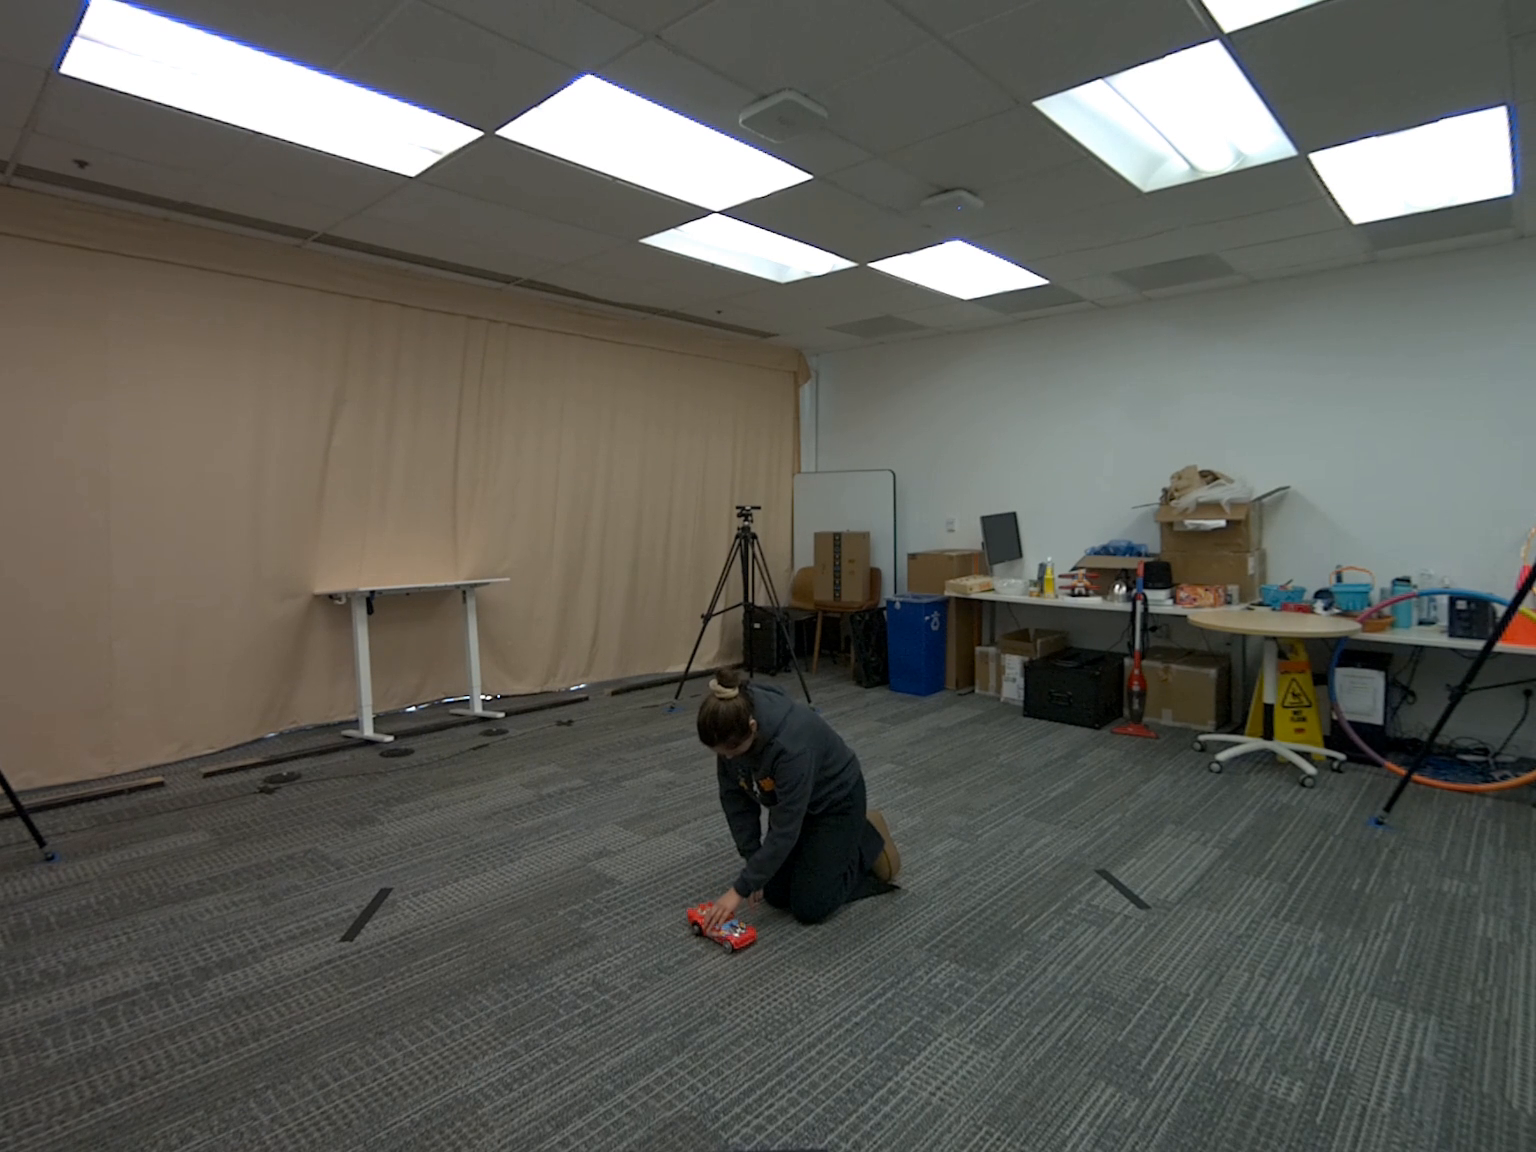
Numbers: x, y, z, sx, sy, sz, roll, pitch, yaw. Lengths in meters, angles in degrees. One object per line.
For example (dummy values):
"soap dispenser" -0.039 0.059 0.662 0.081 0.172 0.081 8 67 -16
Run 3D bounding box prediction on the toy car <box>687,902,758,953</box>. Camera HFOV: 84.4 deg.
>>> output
"toy car" -0.135 1.134 2.724 0.126 0.083 0.264 -6 17 -45
